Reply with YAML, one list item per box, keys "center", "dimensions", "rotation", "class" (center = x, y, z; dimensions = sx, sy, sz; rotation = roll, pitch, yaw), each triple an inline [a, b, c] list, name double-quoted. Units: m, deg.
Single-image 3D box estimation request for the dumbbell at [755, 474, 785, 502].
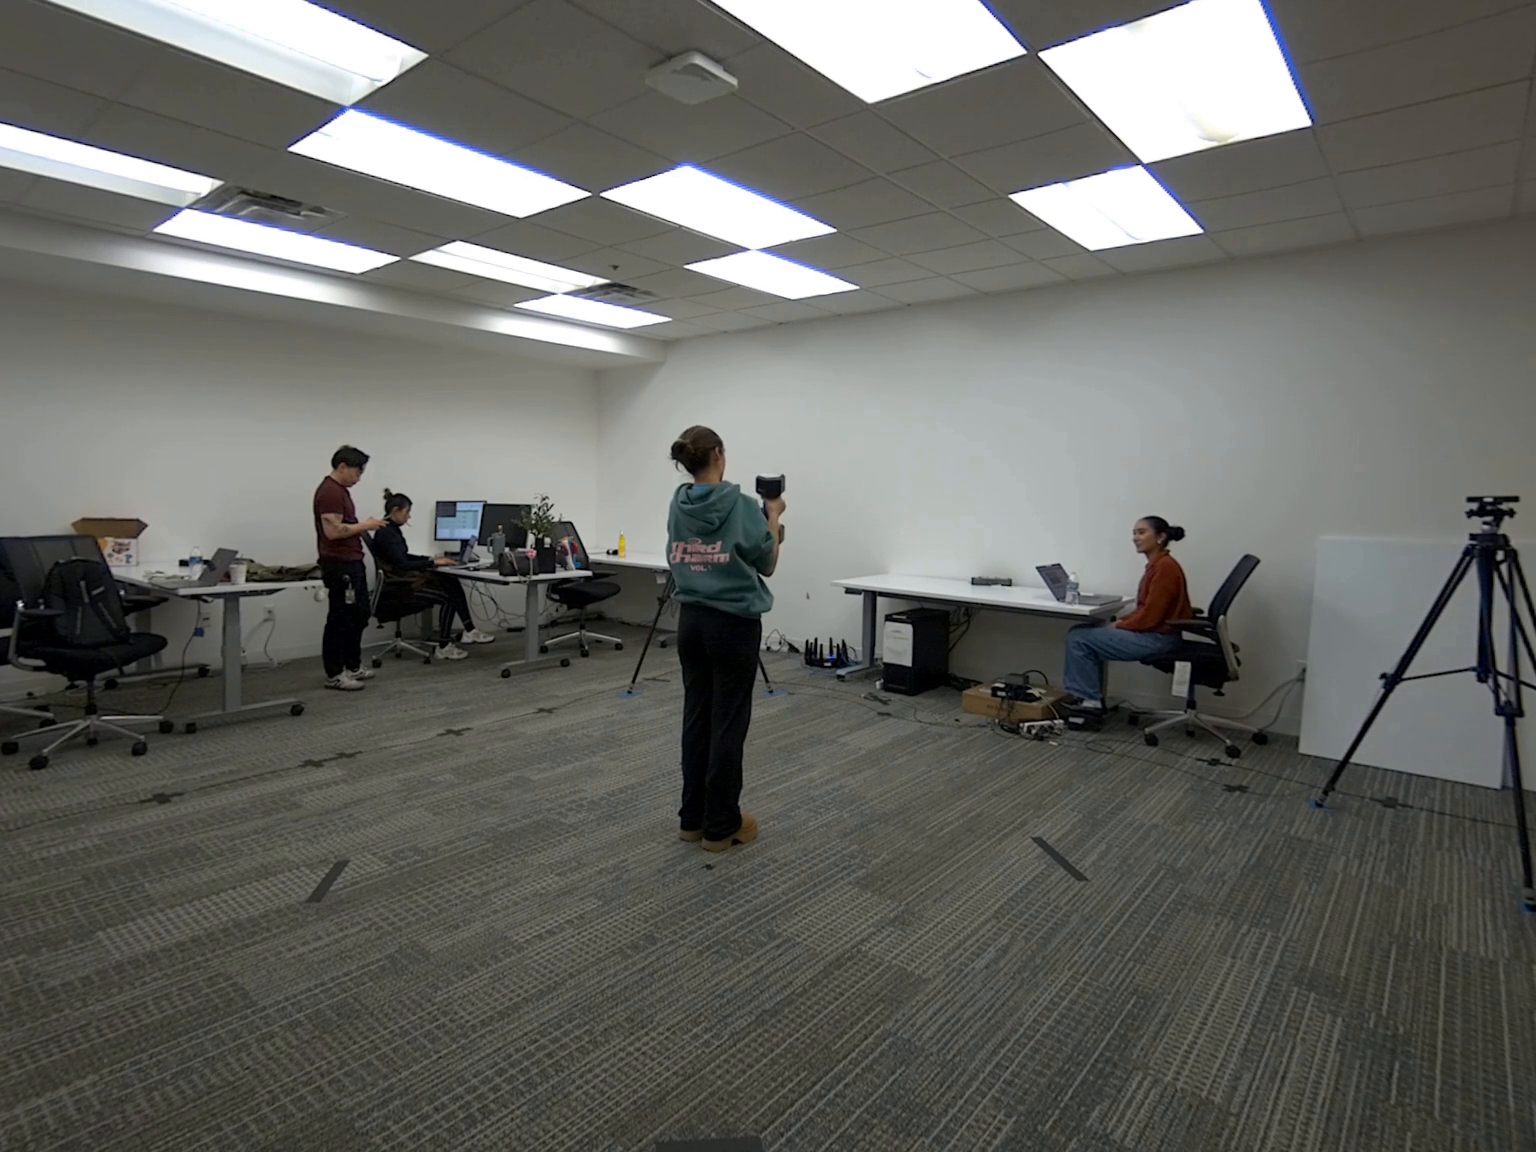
- center: [-0.001, -0.270, 3.451]
  dimensions: [0.106, 0.288, 0.128]
  rotation: [-15, 24, -38]
  class: "dumbbell"
